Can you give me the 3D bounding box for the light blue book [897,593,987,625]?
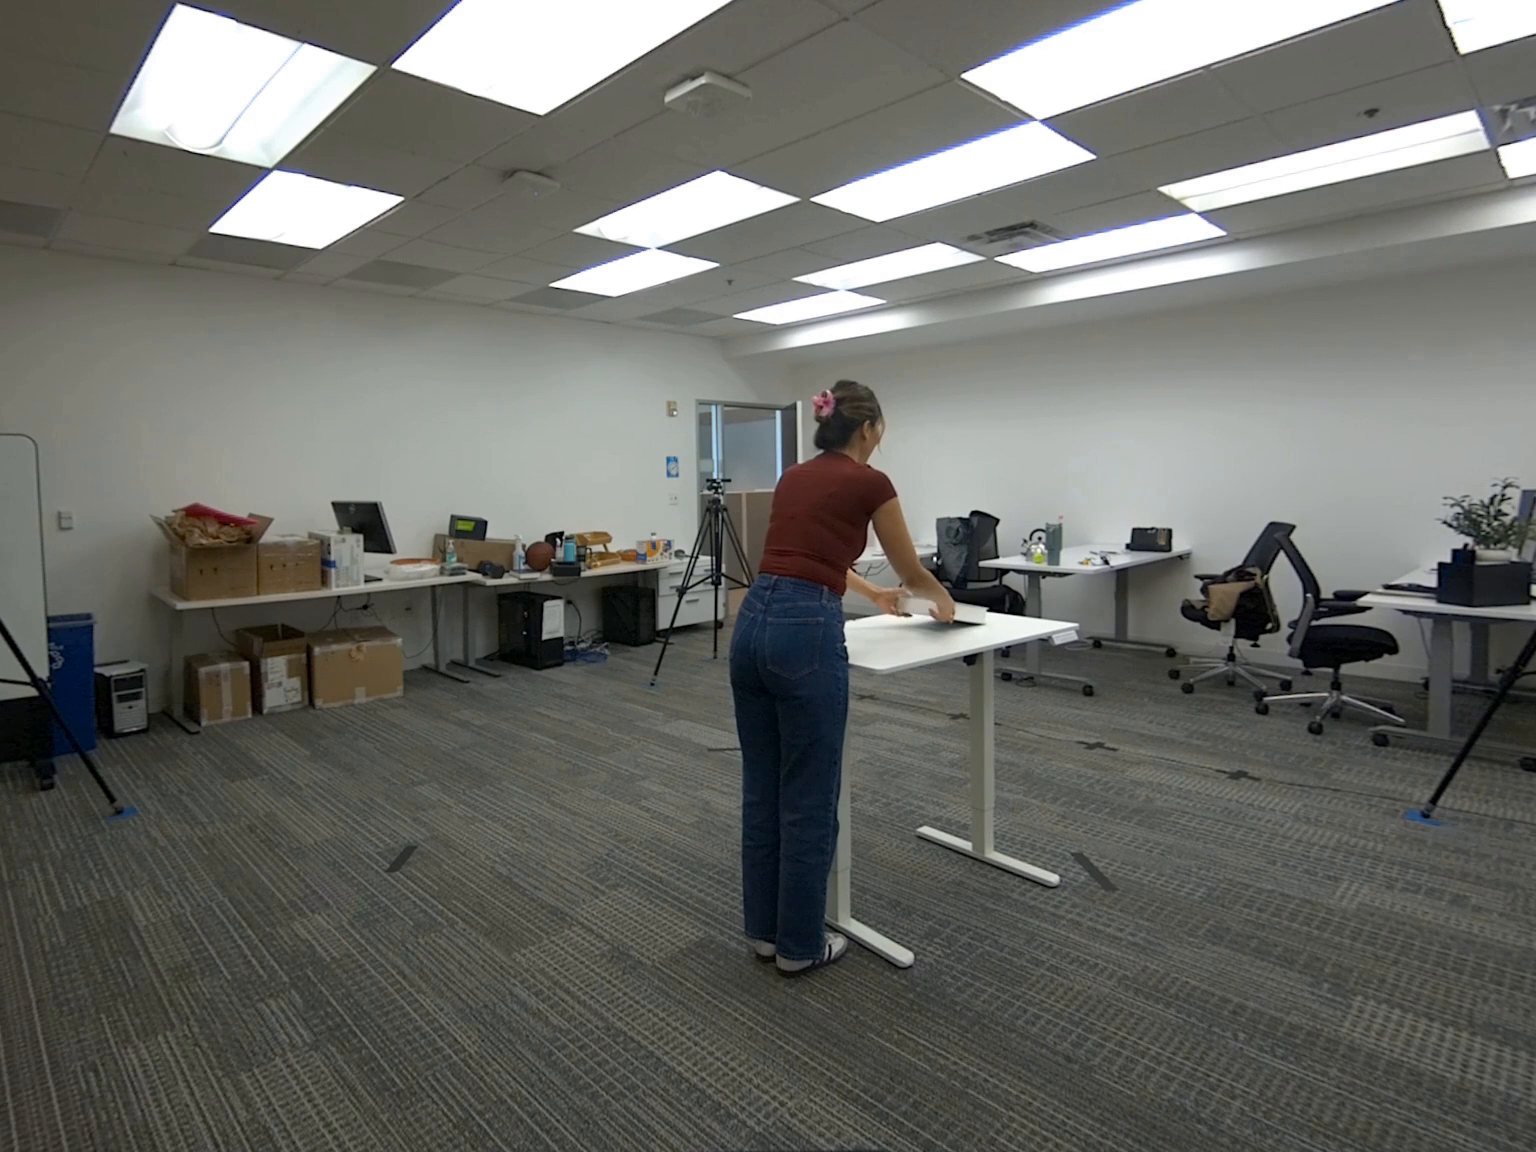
[{"bbox_3d":[0.610,0.115,2.944,0.253,0.059,0.197,8,-2,-37],"label":"light blue book"}]
